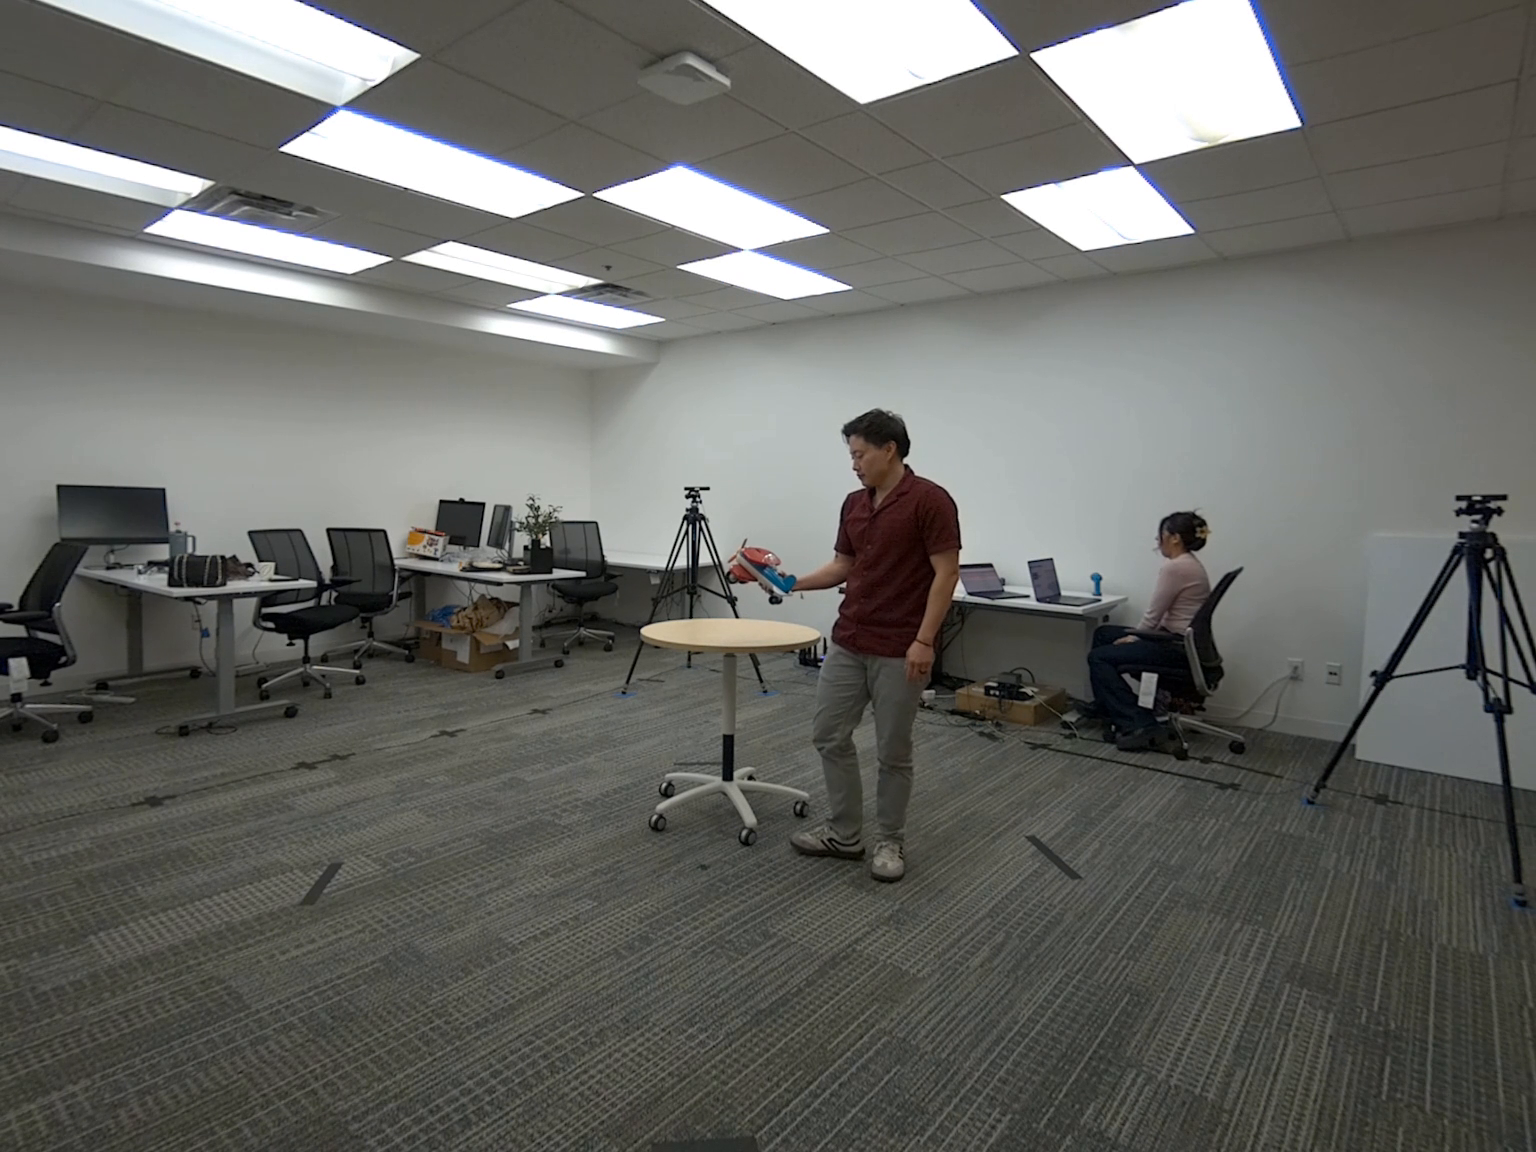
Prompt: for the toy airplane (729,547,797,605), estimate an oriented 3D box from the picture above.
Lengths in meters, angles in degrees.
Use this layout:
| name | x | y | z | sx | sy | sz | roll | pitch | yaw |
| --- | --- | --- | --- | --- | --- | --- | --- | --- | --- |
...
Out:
| name | x | y | z | sx | sy | sz | roll | pitch | yaw |
| --- | --- | --- | --- | --- | --- | --- | --- | --- | --- |
| toy airplane | -0.030 | -0.011 | 3.178 | 0.259 | 0.156 | 0.253 | 22 | 10 | -2 |
